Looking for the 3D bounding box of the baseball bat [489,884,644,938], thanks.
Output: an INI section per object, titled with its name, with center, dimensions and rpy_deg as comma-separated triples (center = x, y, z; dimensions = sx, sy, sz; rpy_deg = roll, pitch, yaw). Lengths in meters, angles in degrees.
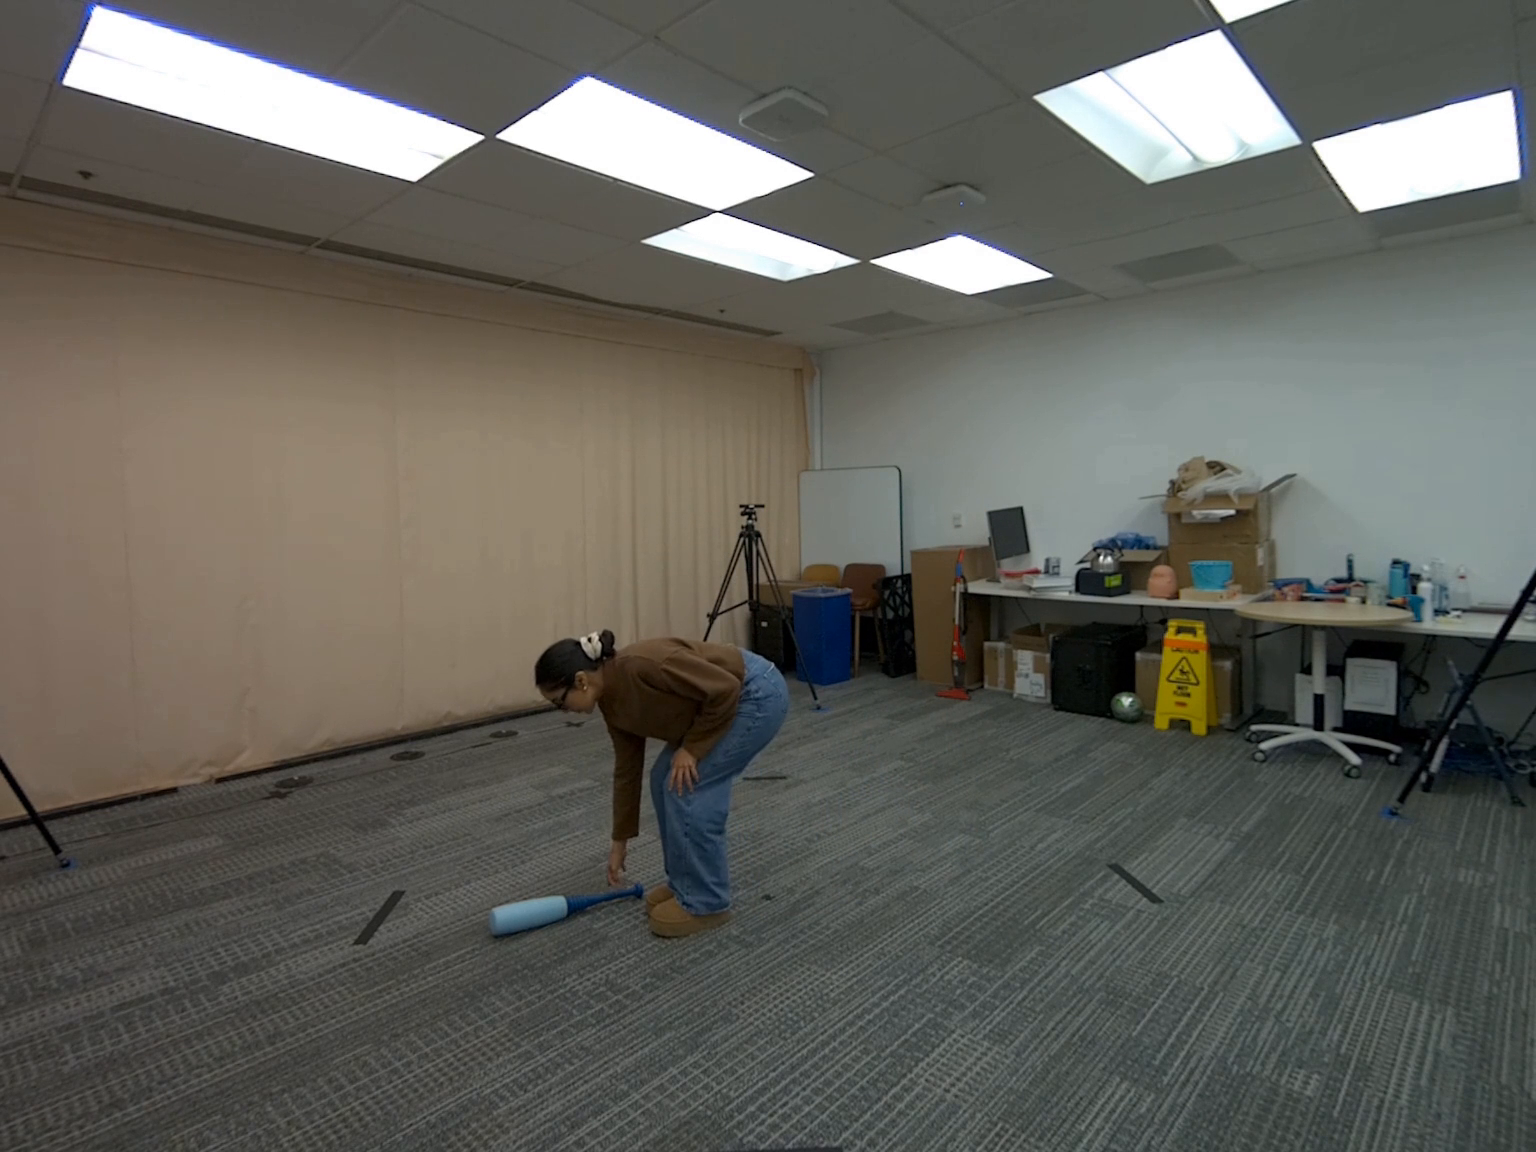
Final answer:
[baseball bat]
center = -0.679, 1.136, 2.878
dimensions = 0.528, 0.089, 0.091
rpy_deg = 1, 3, -30
